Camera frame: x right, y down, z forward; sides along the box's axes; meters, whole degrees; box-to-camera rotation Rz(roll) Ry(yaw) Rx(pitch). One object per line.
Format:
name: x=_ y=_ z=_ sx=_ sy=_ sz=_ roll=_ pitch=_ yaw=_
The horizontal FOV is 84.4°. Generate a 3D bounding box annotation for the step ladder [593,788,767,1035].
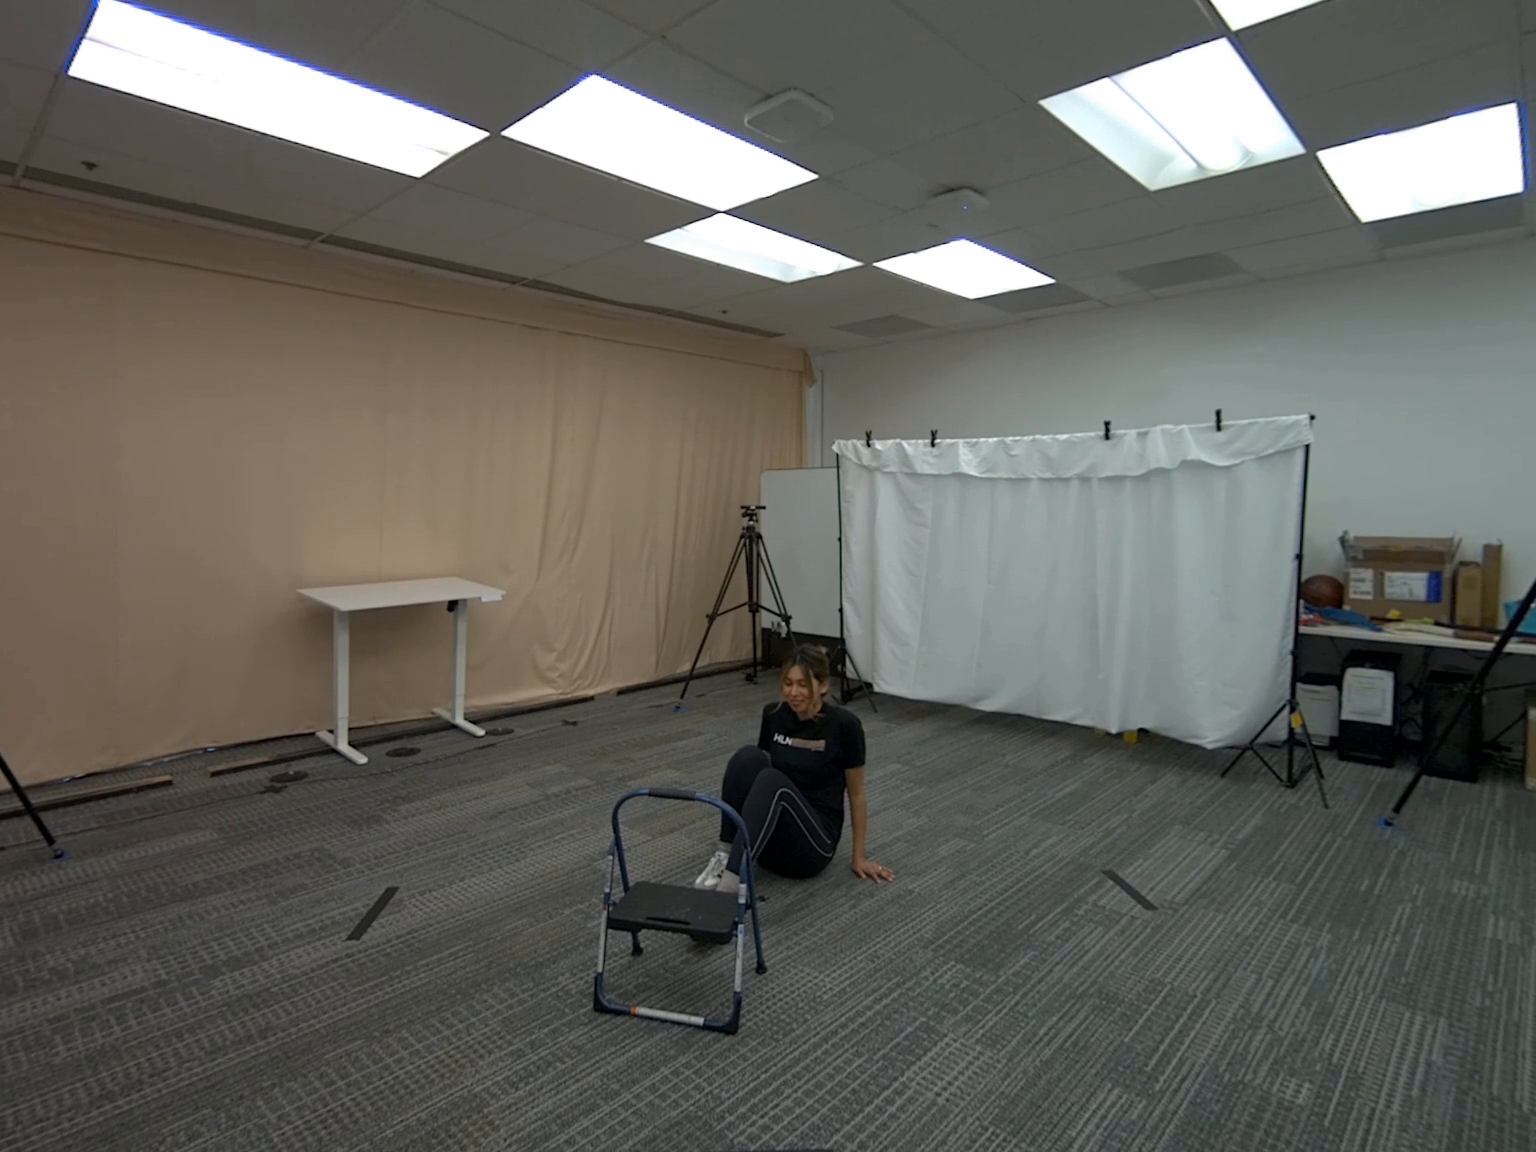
step ladder: x=-0.251 y=0.890 z=2.412 sx=0.437 sy=0.605 sz=0.344 roll=1 pitch=3 yaw=14
